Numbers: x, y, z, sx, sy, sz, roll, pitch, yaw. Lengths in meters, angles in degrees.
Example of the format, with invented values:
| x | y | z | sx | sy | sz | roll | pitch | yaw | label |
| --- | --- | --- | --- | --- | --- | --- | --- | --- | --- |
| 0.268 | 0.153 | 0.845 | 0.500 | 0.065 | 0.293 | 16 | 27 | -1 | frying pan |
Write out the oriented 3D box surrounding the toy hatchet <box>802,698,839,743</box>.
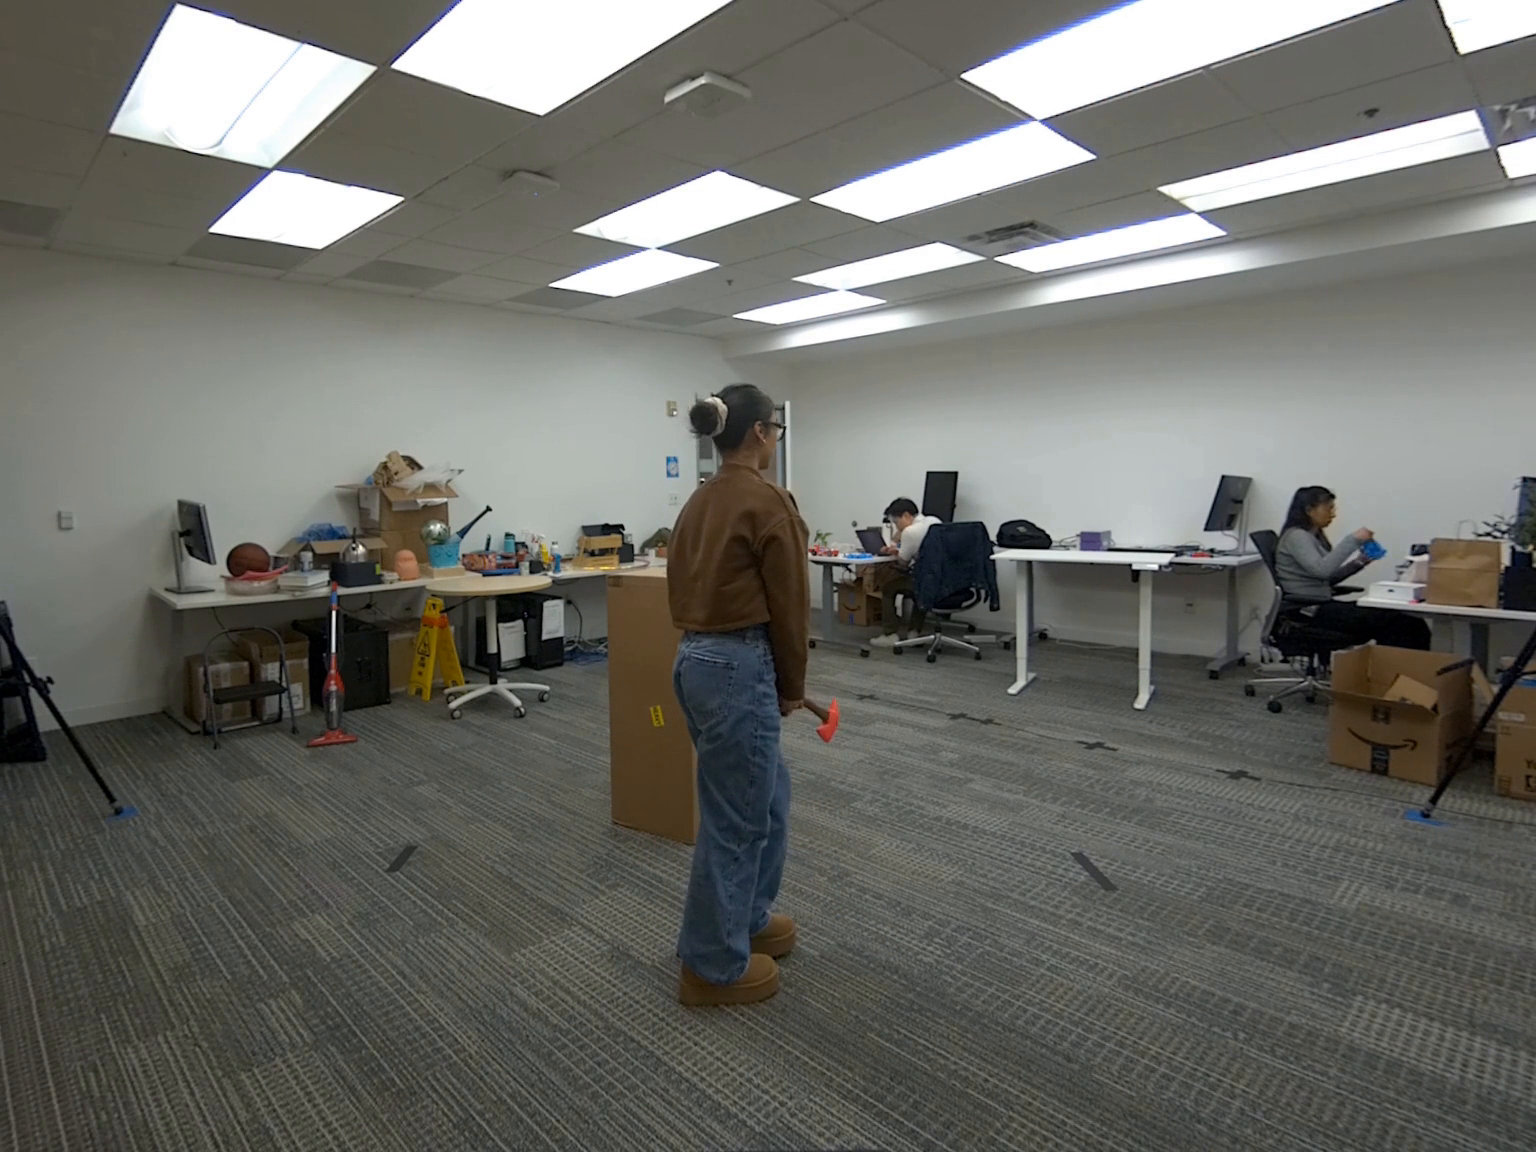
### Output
| x | y | z | sx | sy | sz | roll | pitch | yaw | label |
| --- | --- | --- | --- | --- | --- | --- | --- | --- | --- |
| 0.126 | 0.404 | 2.448 | 0.030 | 0.132 | 0.261 | -13 | -16 | 43 | toy hatchet |
